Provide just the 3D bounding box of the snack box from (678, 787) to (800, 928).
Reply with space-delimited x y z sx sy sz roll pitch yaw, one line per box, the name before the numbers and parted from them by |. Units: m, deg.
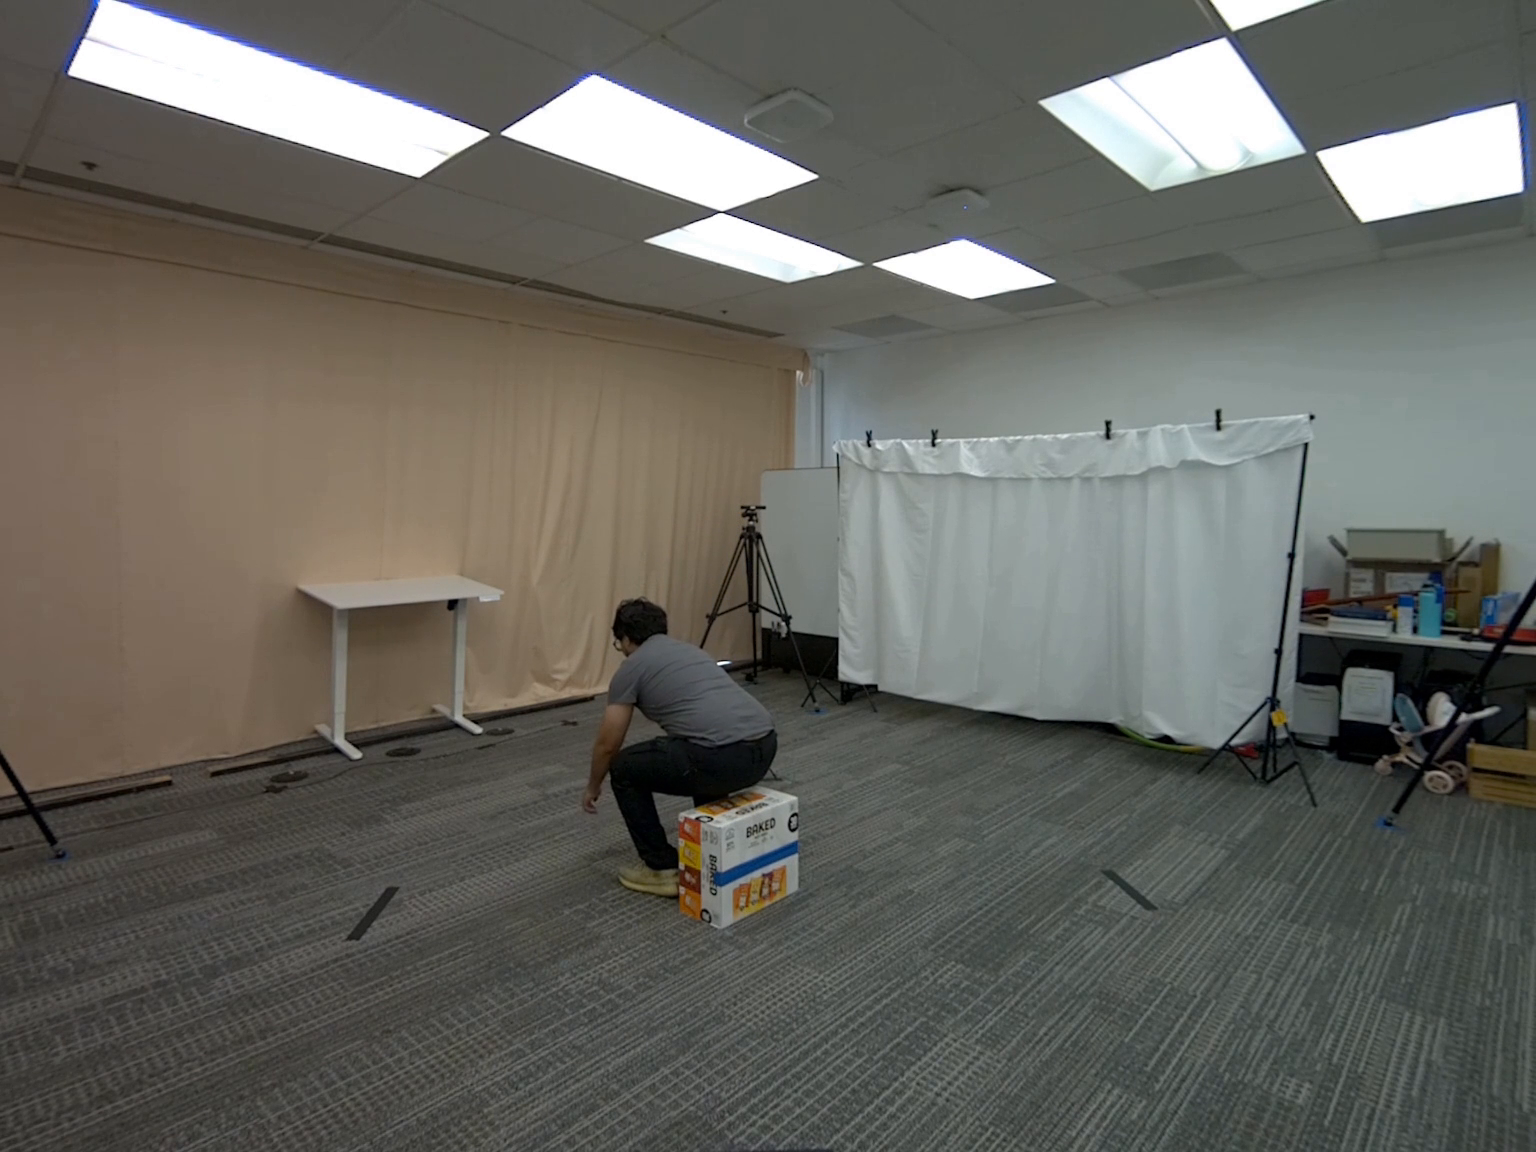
snack box | -0.093 0.975 2.966 0.212 0.340 0.393 3 5 43
